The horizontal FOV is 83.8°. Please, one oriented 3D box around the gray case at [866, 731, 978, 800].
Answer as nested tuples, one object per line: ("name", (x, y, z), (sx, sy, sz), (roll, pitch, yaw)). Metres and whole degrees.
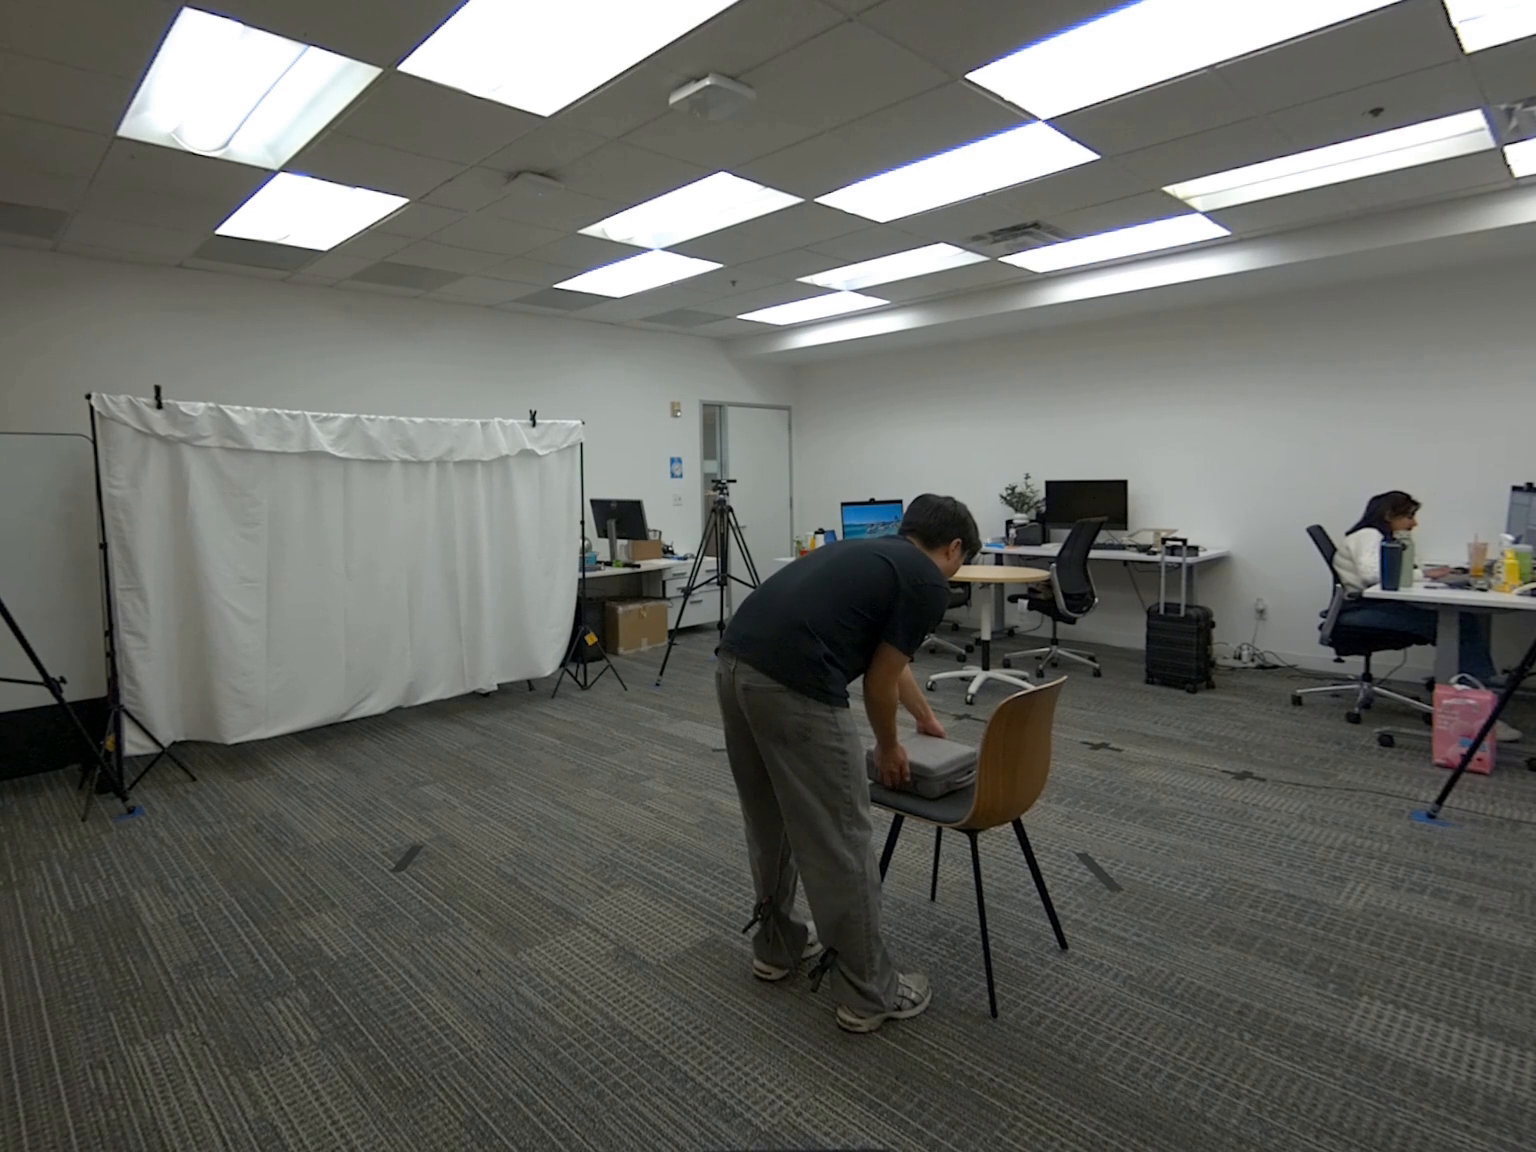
("gray case", (0.475, 0.562, 2.559), (0.256, 0.102, 0.296), (-7, 9, -45))
